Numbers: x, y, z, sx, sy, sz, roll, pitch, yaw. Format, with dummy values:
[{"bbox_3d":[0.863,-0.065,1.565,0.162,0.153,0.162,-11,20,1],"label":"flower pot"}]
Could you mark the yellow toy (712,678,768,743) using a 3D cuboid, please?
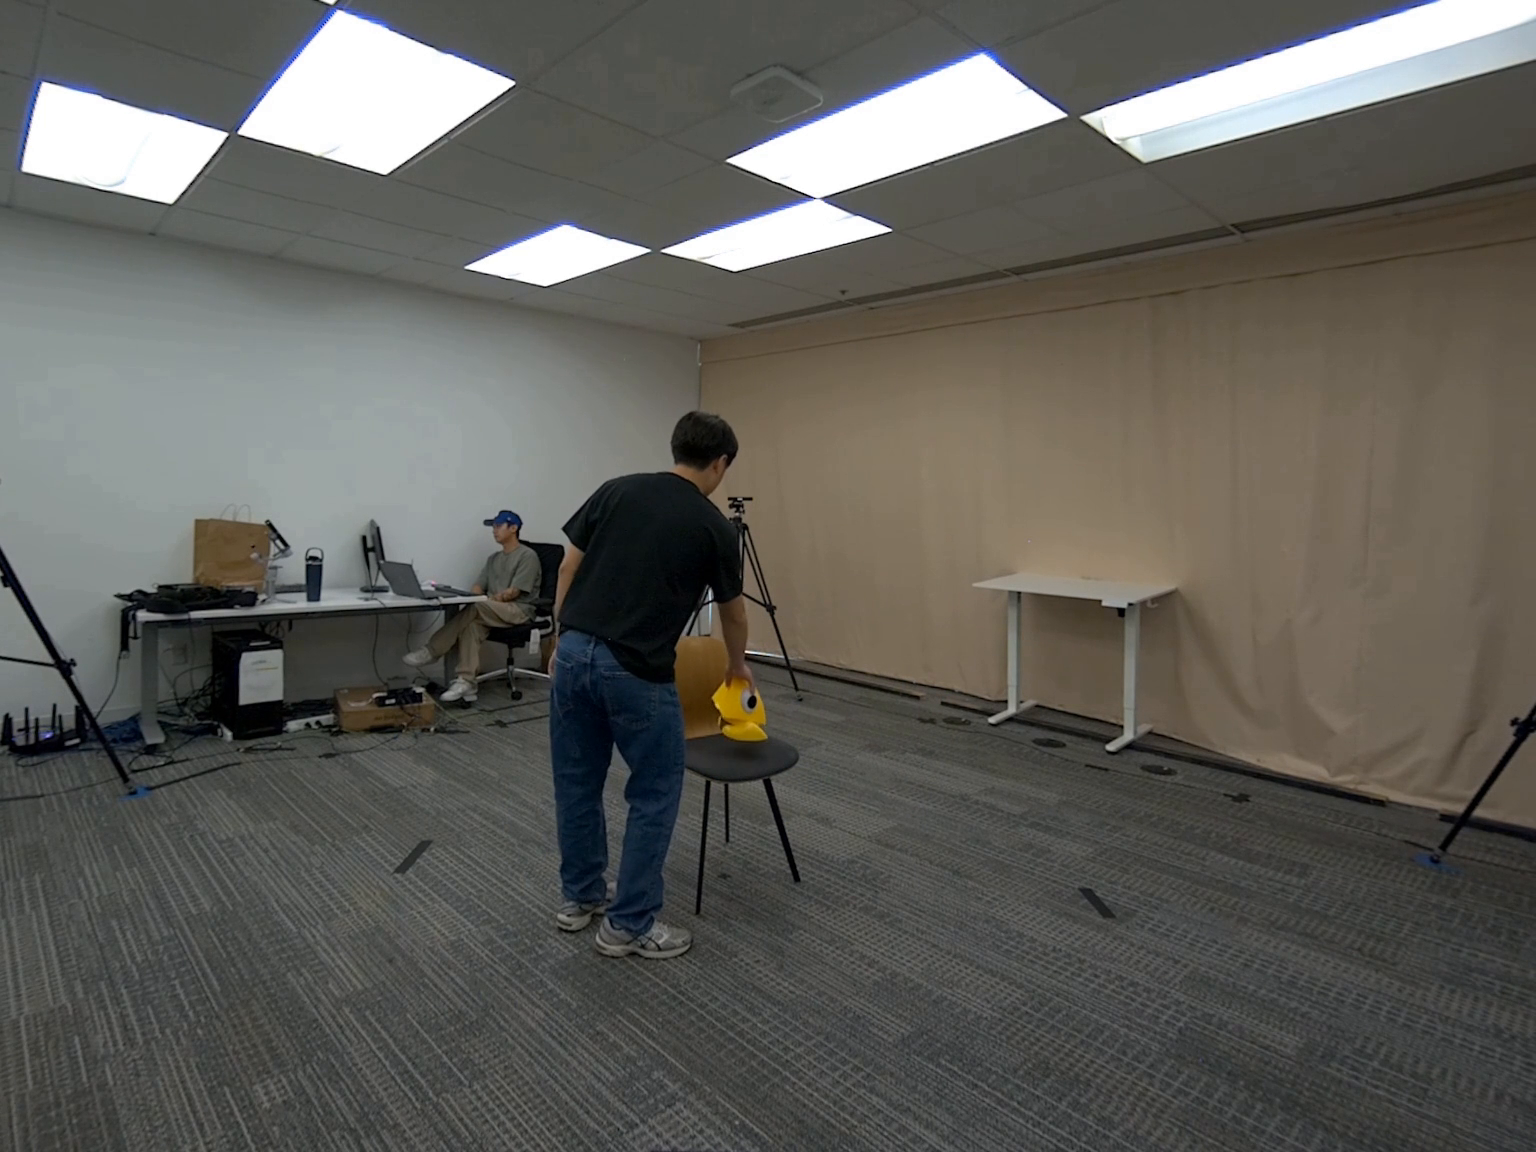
[{"bbox_3d":[-0.086,0.443,3.016,0.190,0.229,0.208,5,8,-16],"label":"yellow toy"}]
